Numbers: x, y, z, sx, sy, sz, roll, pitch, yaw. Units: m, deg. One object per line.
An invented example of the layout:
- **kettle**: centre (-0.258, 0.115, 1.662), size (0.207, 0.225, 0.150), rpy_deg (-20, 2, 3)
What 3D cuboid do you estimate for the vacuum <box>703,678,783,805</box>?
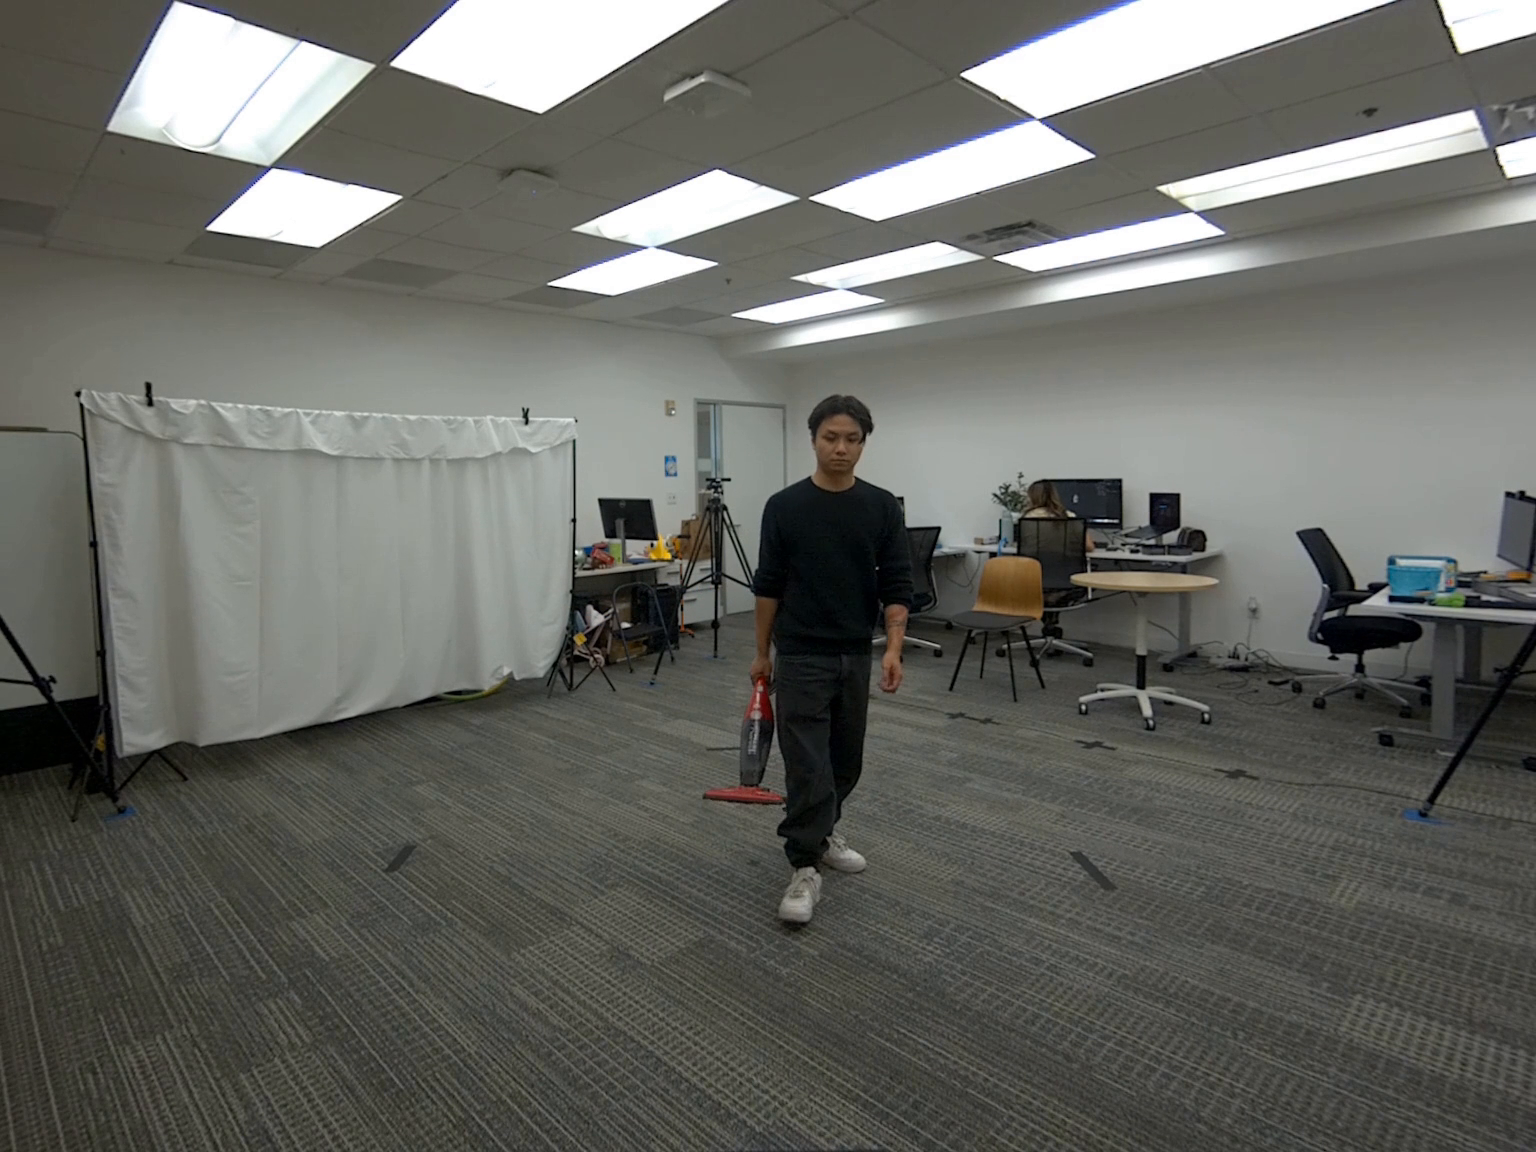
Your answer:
- **vacuum**: centre (-0.010, 0.334, 3.057), size (0.255, 0.139, 1.072), rpy_deg (-1, 46, 10)
